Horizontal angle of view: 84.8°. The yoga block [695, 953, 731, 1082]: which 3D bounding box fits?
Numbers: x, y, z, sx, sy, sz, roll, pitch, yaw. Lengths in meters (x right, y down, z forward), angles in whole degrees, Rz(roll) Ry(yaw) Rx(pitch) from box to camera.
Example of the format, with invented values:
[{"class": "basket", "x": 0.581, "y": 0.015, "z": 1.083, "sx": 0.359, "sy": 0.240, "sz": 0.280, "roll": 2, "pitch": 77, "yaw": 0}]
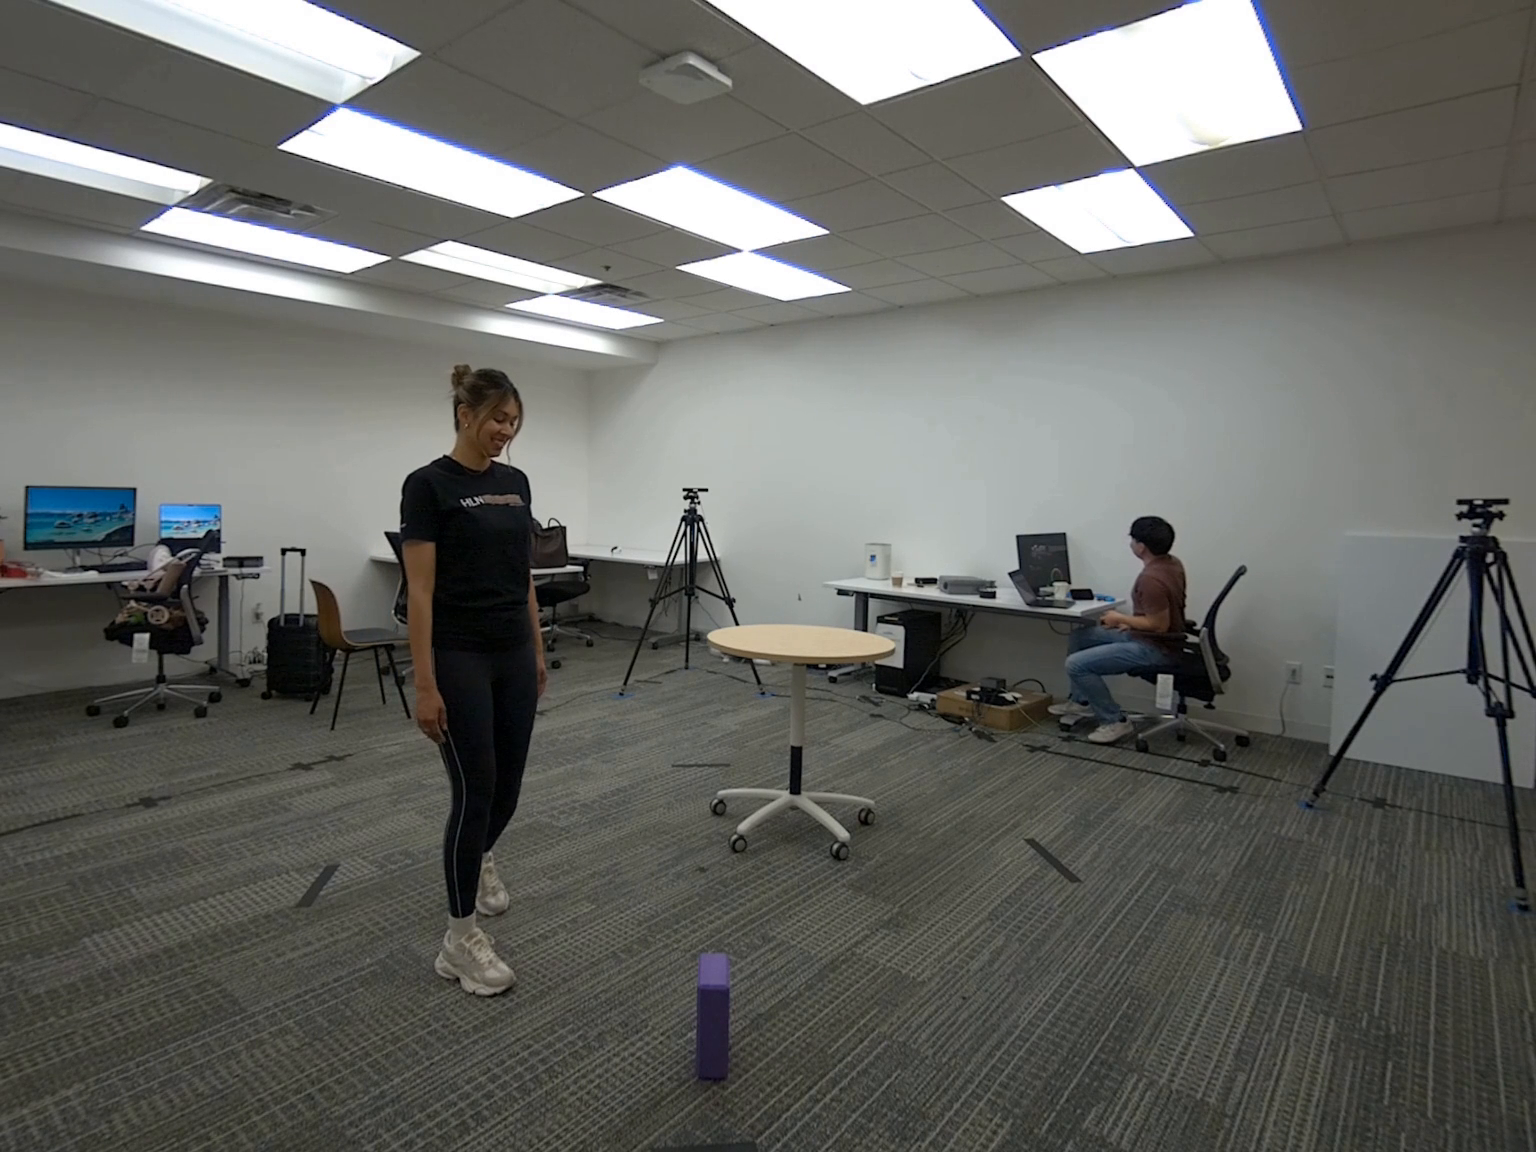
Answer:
[{"class": "yoga block", "x": -0.136, "y": 1.066, "z": 2.056, "sx": 0.076, "sy": 0.228, "sz": 0.150, "roll": 2, "pitch": 7, "yaw": -2}]
